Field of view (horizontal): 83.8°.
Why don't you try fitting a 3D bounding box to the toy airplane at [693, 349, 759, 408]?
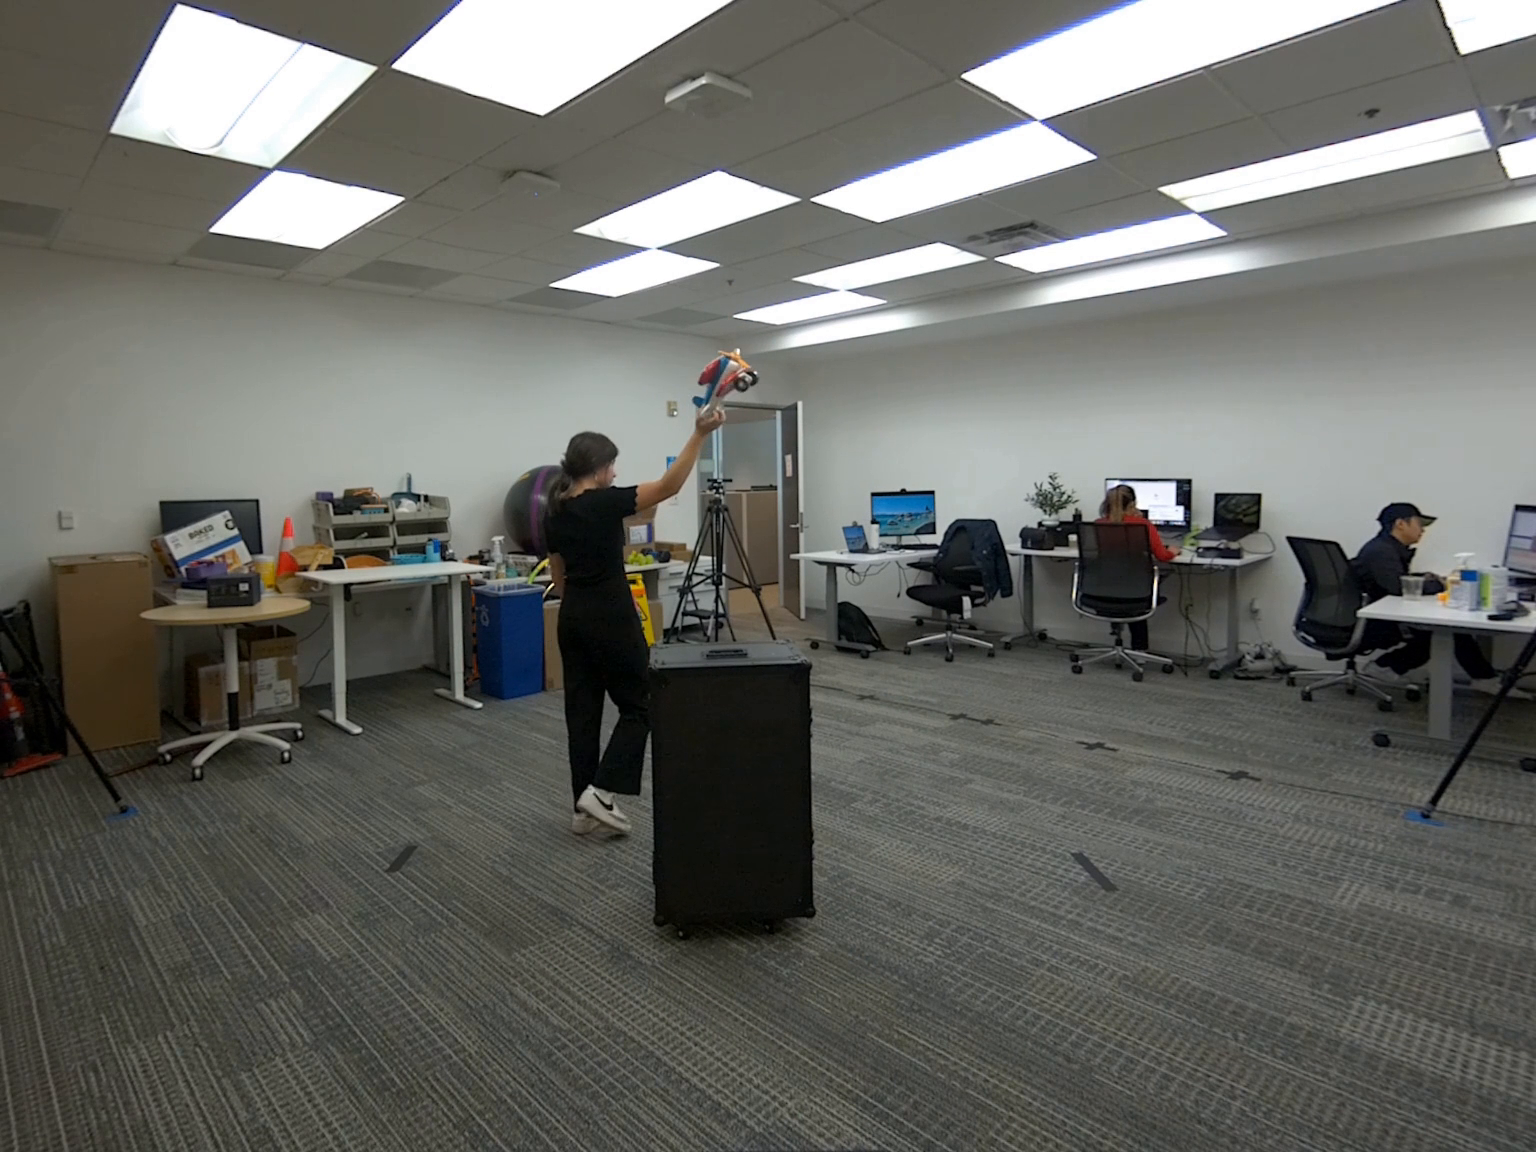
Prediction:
[{"bbox_3d":[-0.163,-0.676,3.055,0.259,0.156,0.251,-42,3,5],"label":"toy airplane"}]
